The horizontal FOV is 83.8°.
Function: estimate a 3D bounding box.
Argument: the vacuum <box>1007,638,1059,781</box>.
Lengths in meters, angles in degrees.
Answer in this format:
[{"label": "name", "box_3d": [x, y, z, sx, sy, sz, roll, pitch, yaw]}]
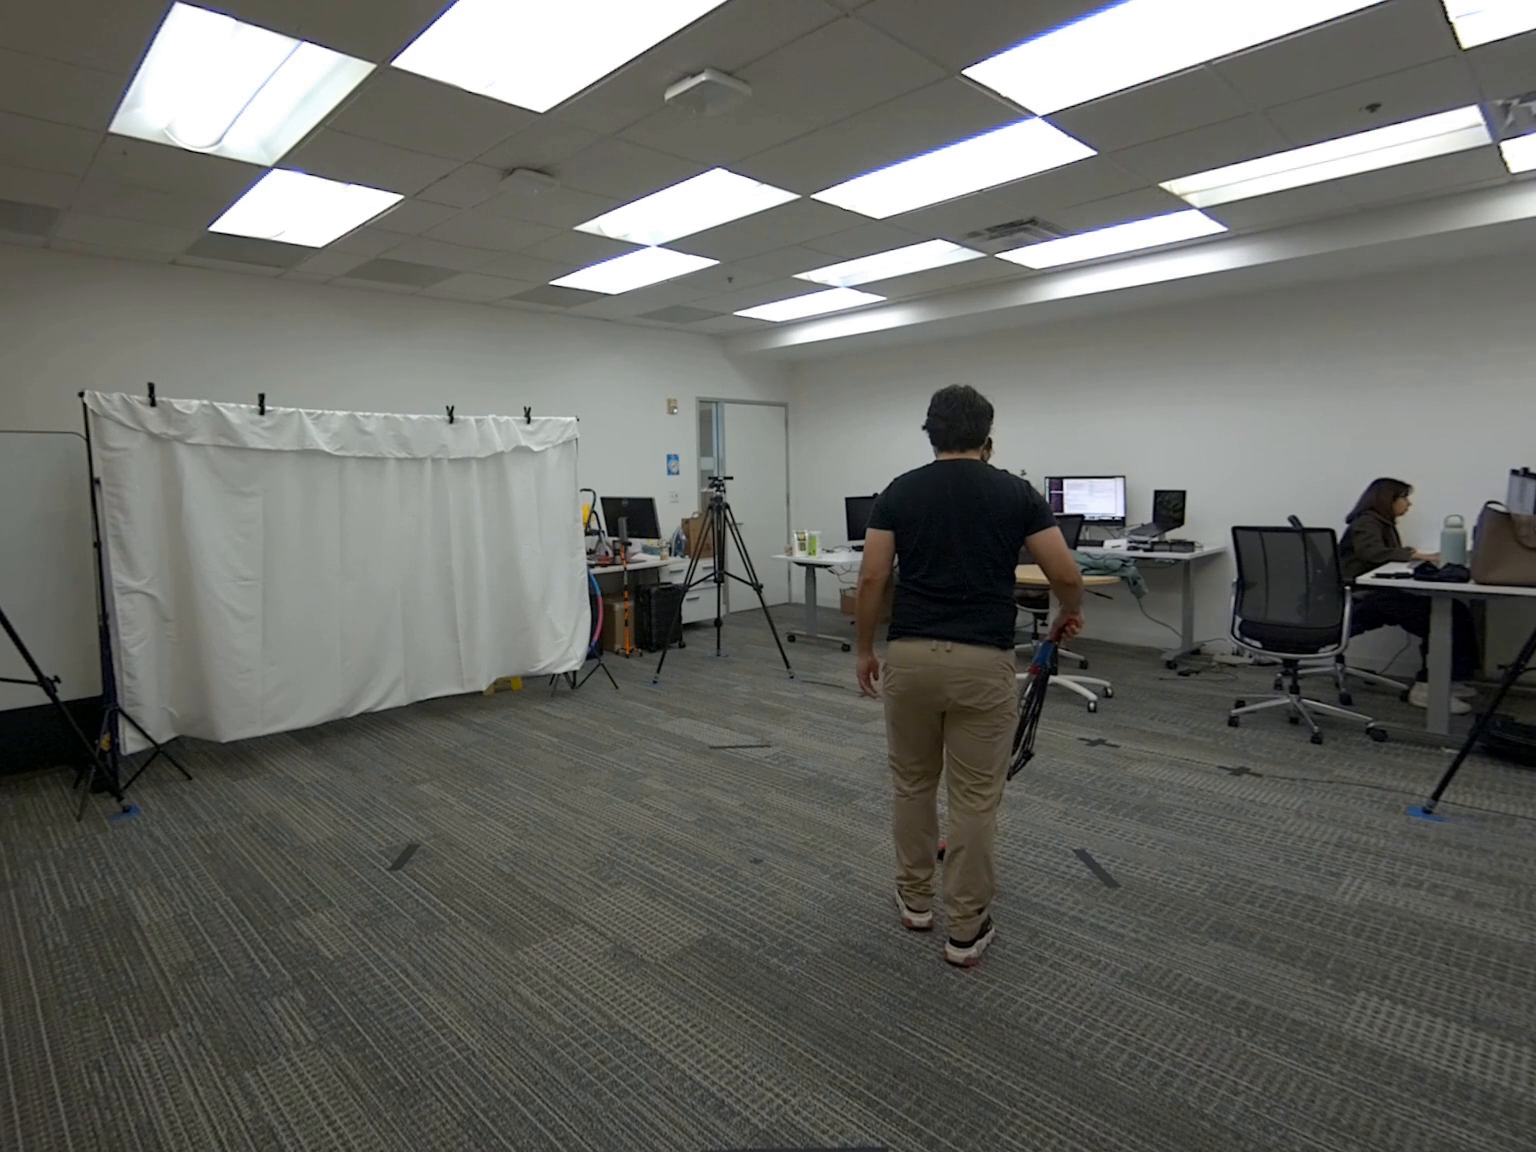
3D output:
[{"label": "vacuum", "box_3d": [0.798, 0.590, 2.878, 0.246, 1.033, 0.150, -4, 36, -33]}]
